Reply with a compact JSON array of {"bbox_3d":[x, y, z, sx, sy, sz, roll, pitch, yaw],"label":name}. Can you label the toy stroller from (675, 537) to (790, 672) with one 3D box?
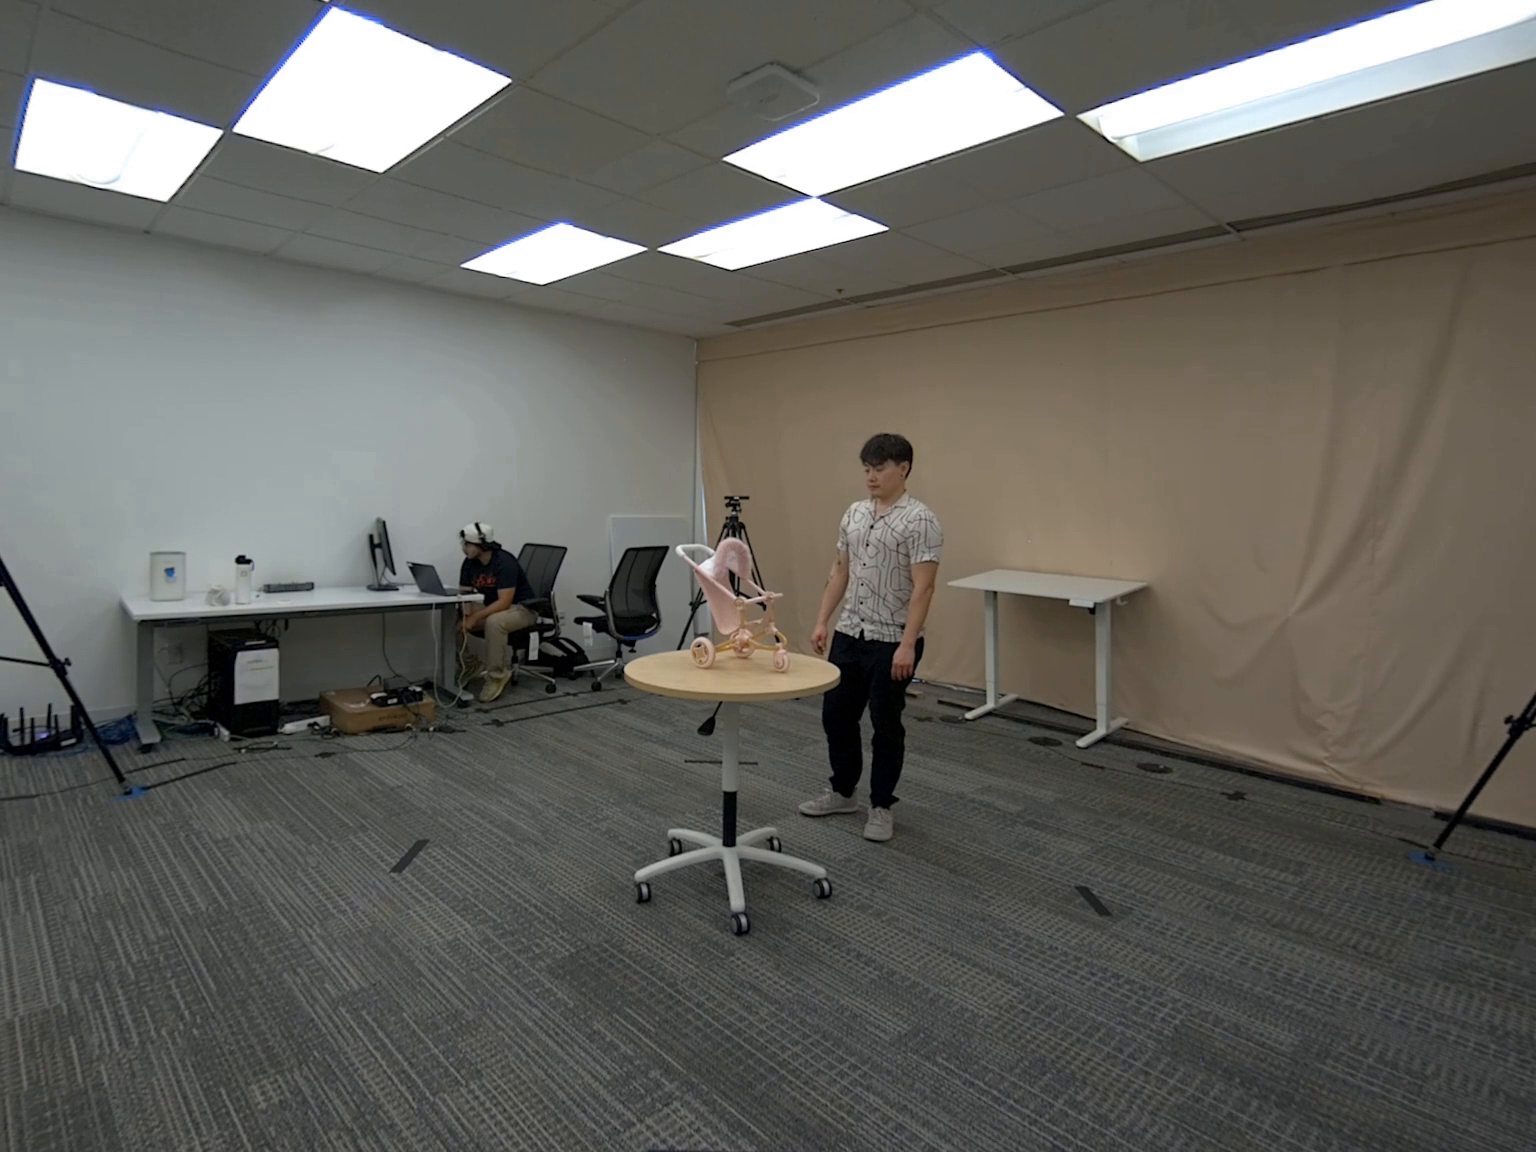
[{"bbox_3d":[-0.118,0.102,3.035,0.346,0.538,0.275,-18,-8,38],"label":"toy stroller"}]
